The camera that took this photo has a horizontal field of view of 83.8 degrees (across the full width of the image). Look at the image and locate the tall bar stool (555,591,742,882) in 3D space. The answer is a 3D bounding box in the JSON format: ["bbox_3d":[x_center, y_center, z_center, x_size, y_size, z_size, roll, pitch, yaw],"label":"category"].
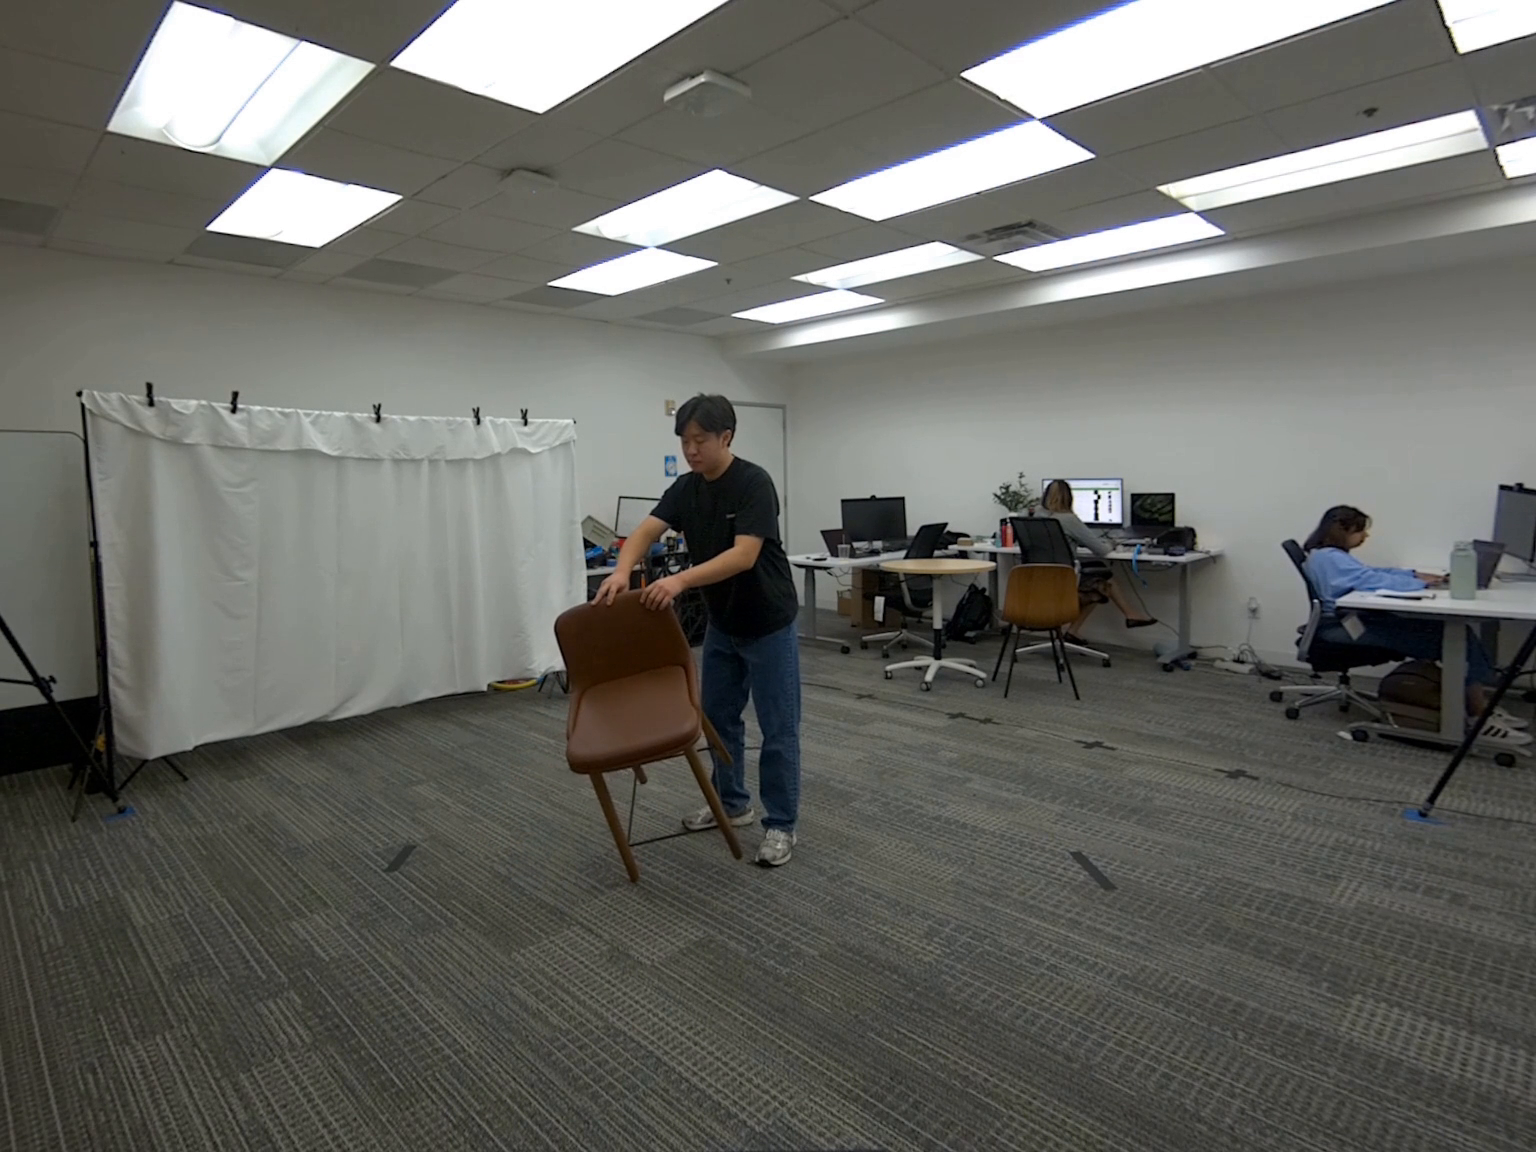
[{"bbox_3d":[-0.411,0.550,2.906,0.458,0.863,0.480,-15,31,5],"label":"tall bar stool"}]
